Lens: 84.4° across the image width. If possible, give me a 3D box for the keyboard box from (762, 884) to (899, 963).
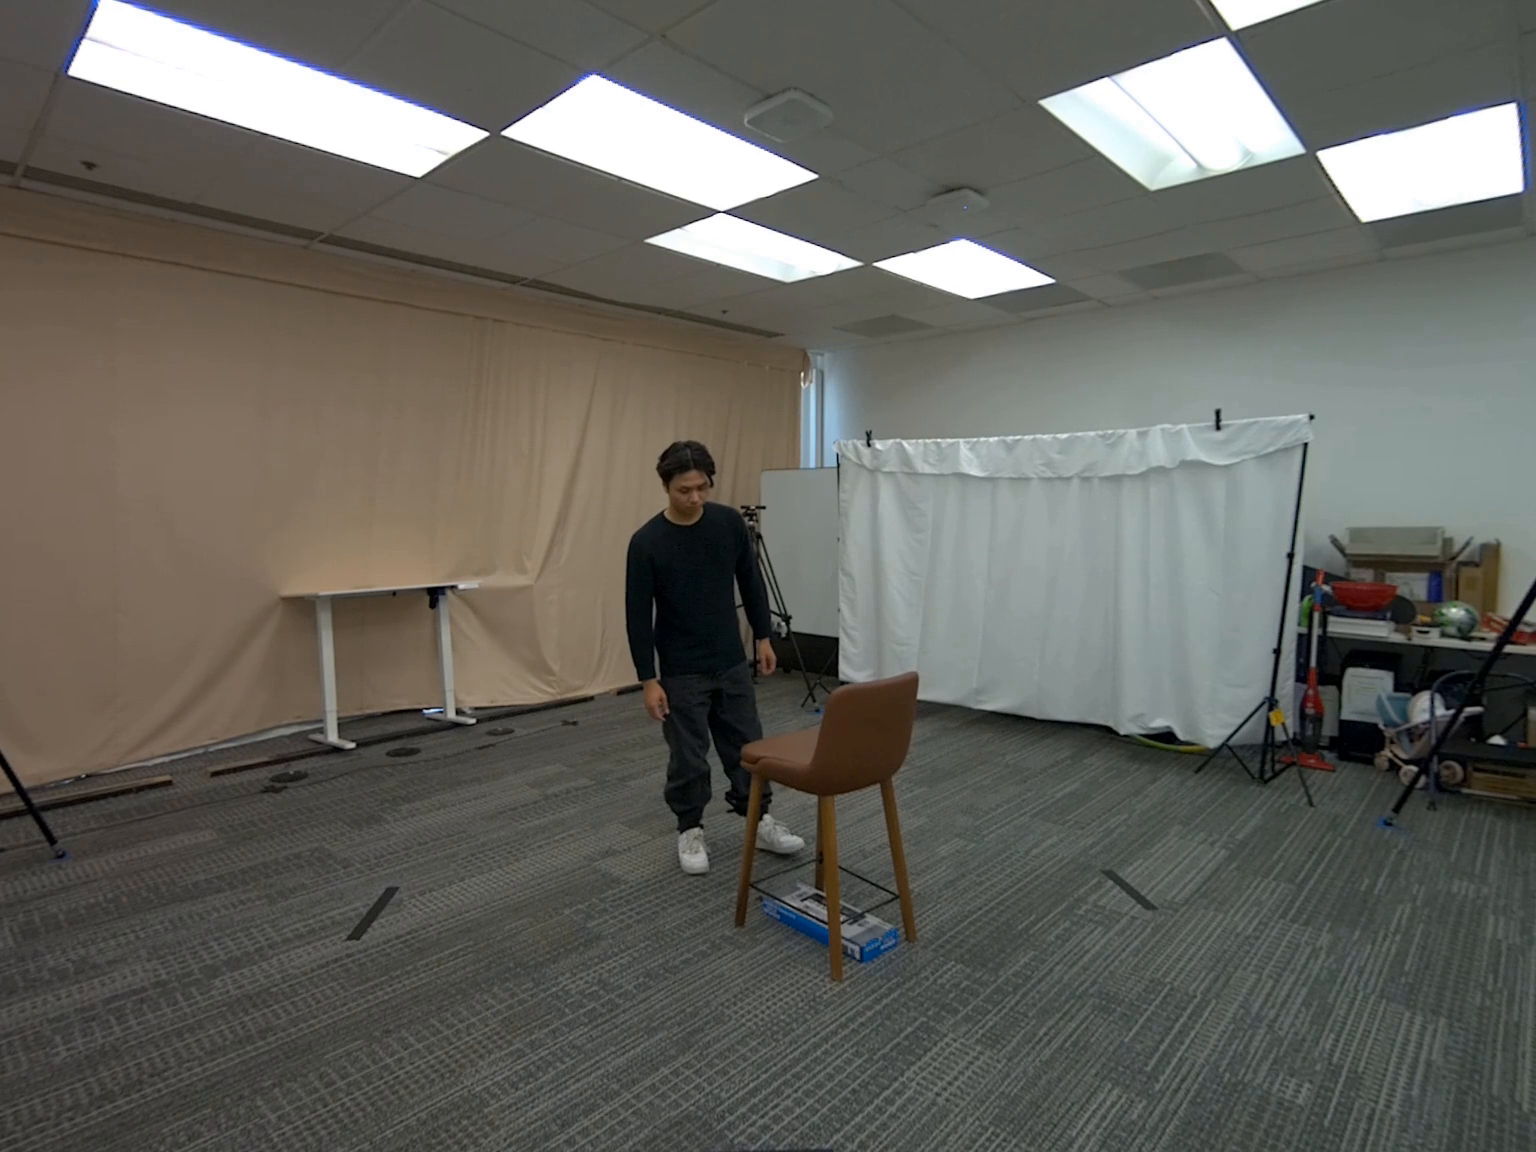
[{"bbox_3d":[0.199,1.139,2.766,0.171,0.059,0.451,-7,8,-42],"label":"keyboard box"}]
